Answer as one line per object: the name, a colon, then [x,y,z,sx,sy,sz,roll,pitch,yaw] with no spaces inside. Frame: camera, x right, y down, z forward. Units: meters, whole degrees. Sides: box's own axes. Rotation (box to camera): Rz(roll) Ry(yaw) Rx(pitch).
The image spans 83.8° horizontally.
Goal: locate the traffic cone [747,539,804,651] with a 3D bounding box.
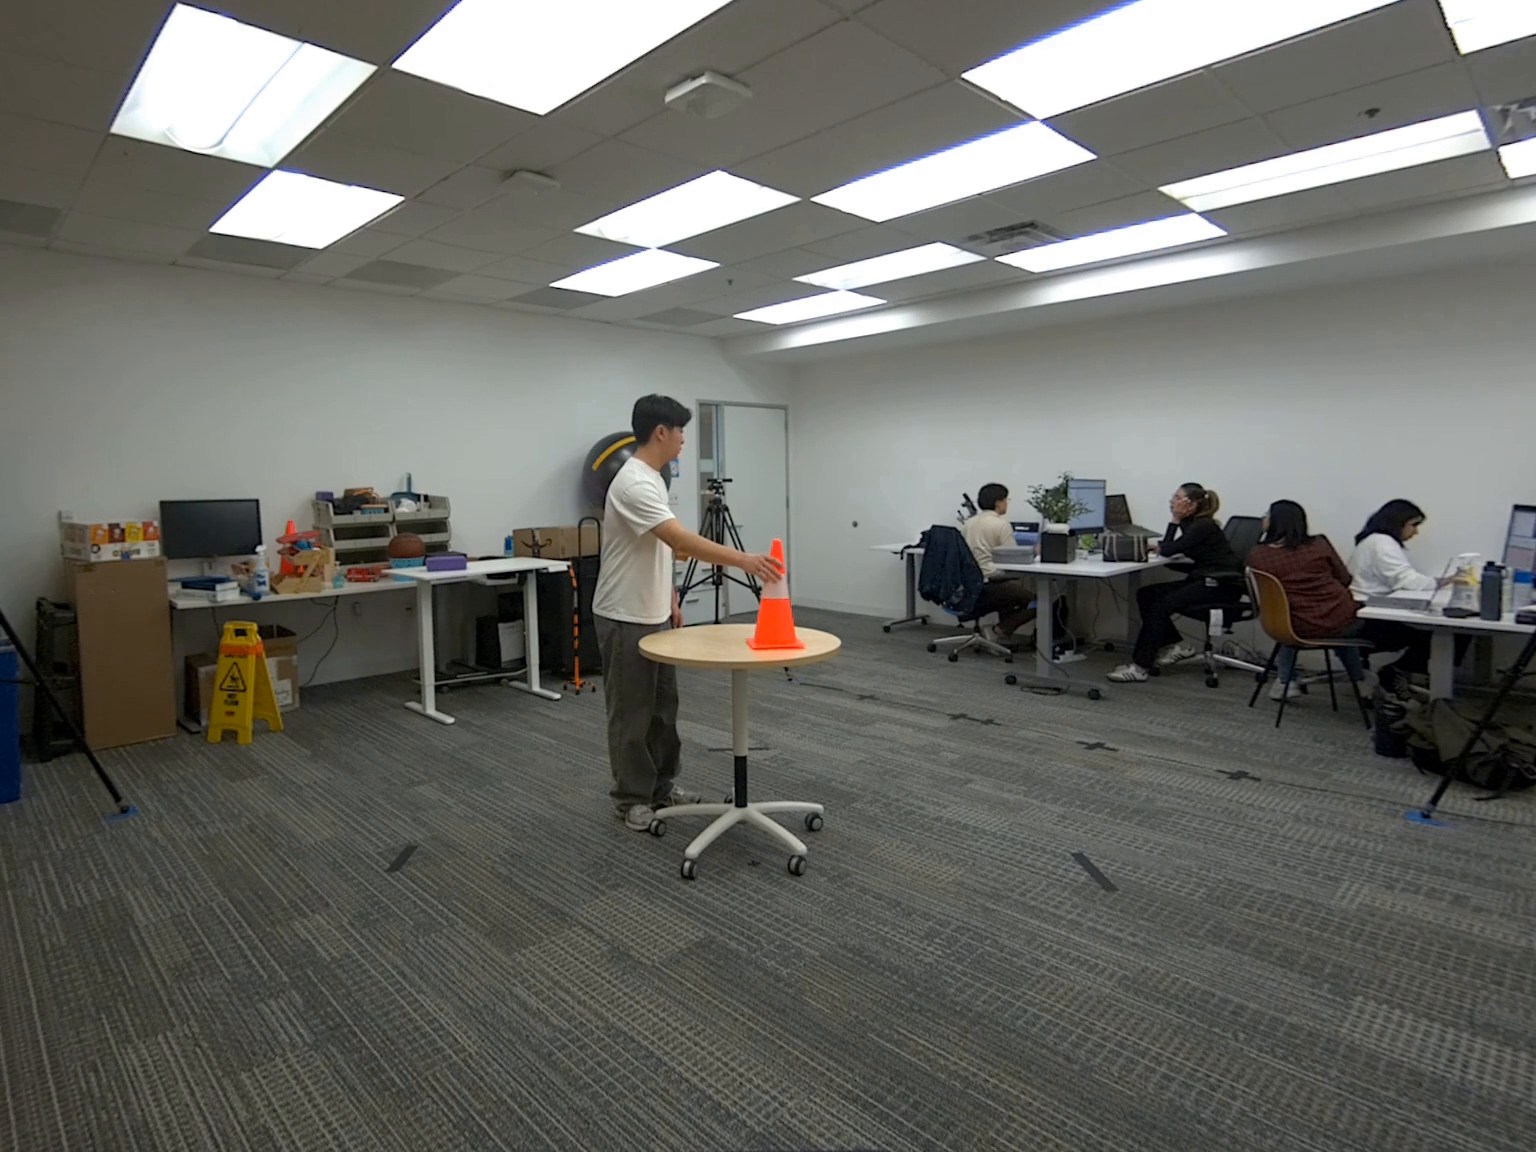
traffic cone: [0.028,0.044,3.171,0.202,0.383,0.207,-2,3,-8]
